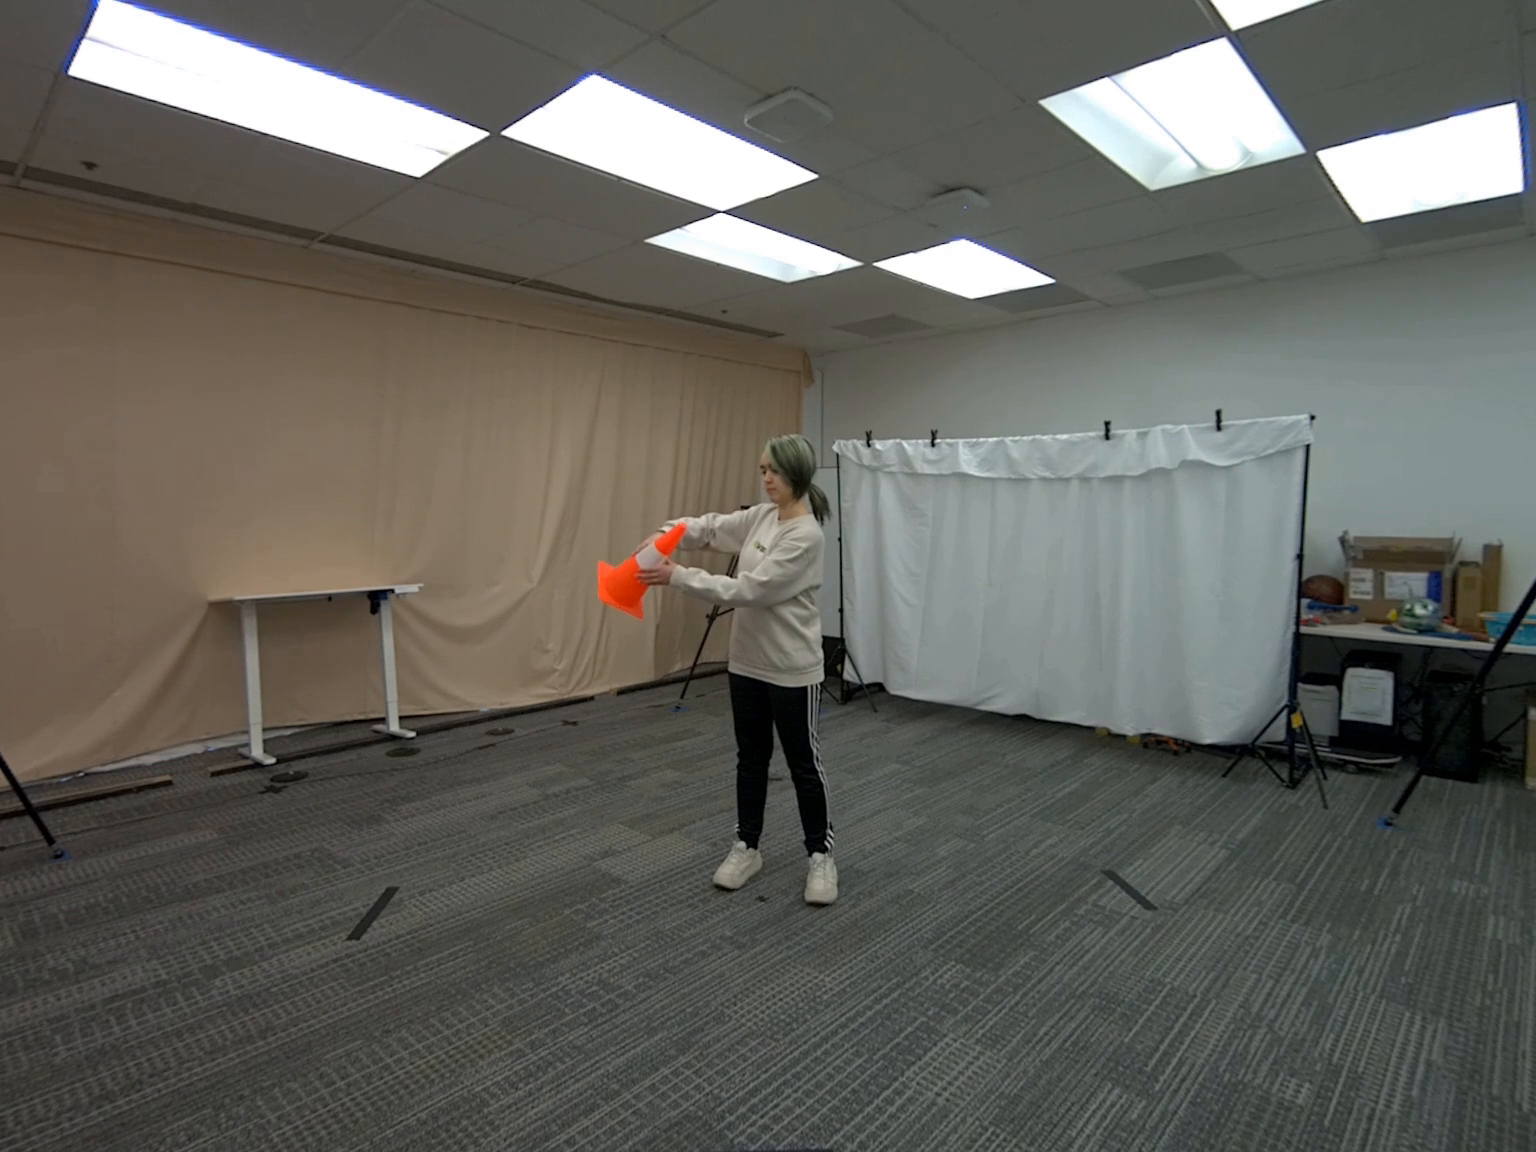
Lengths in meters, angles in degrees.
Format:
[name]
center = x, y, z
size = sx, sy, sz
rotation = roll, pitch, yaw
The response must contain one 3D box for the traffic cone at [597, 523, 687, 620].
[traffic cone]
center = -0.407, -0.047, 2.989
size = 0.197, 0.210, 0.387
rotation = 30, -58, -32
